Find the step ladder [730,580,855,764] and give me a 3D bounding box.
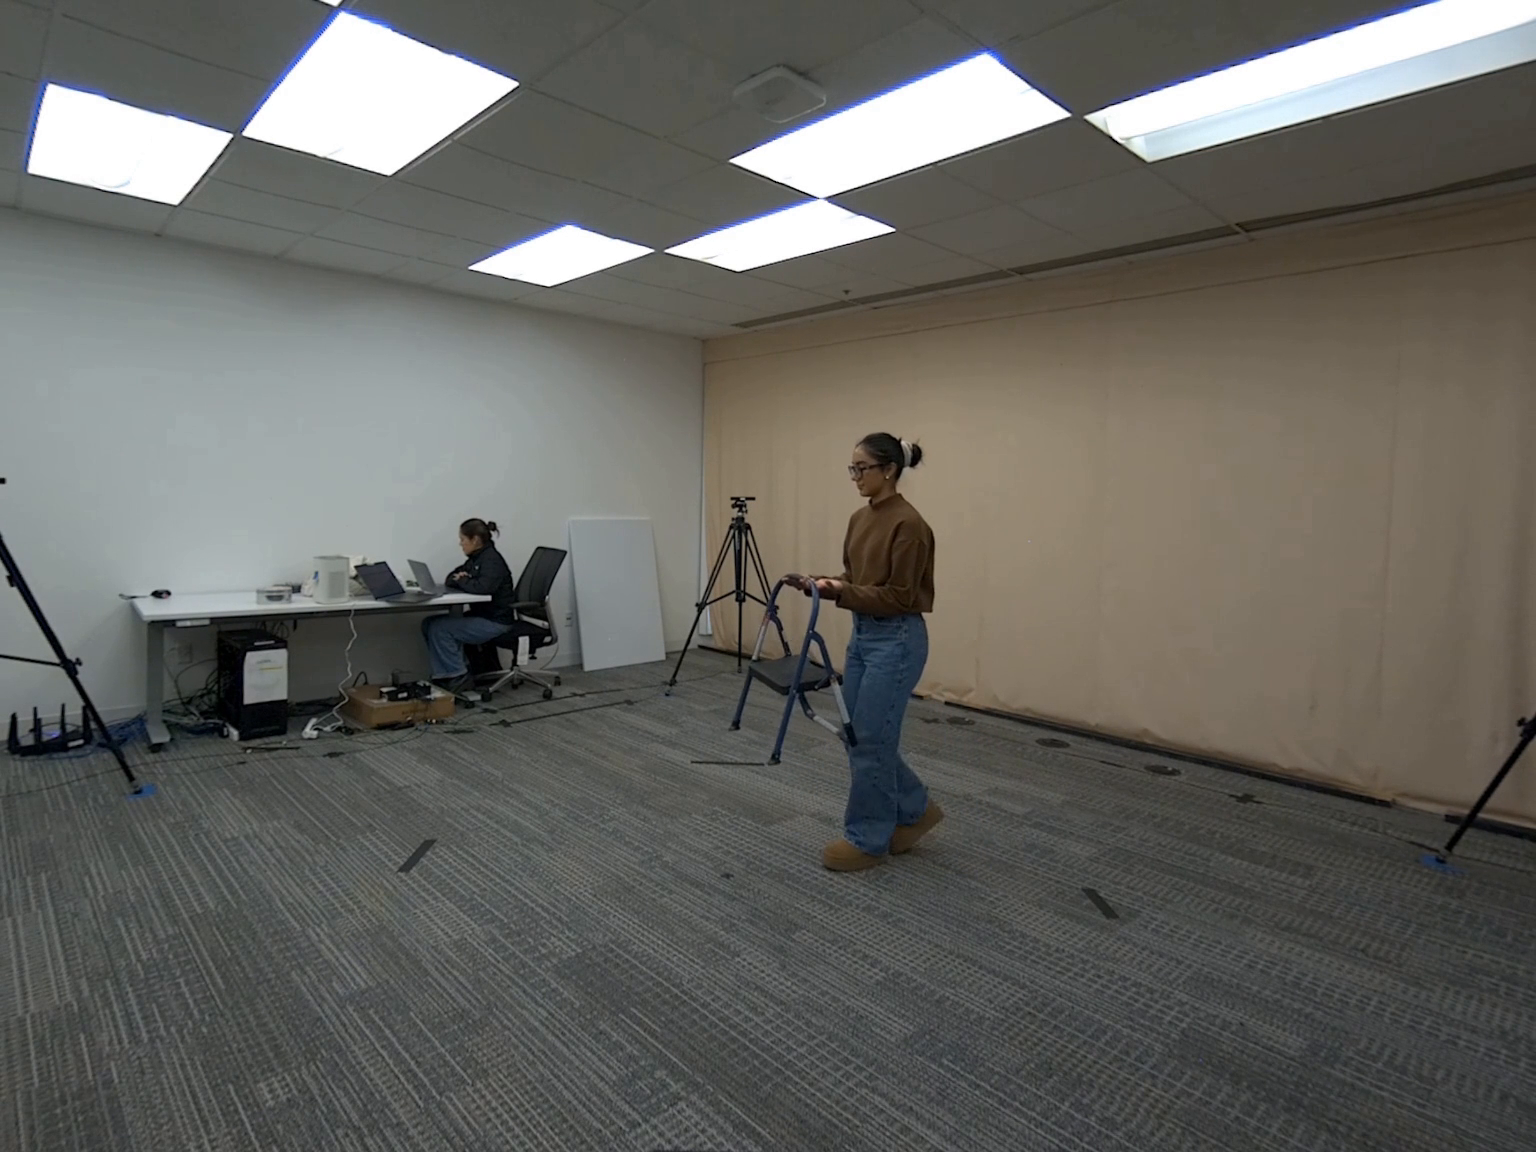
[{"bbox_3d":[0.065,0.311,3.109,0.344,0.602,0.439,-7,9,-22],"label":"step ladder"}]
